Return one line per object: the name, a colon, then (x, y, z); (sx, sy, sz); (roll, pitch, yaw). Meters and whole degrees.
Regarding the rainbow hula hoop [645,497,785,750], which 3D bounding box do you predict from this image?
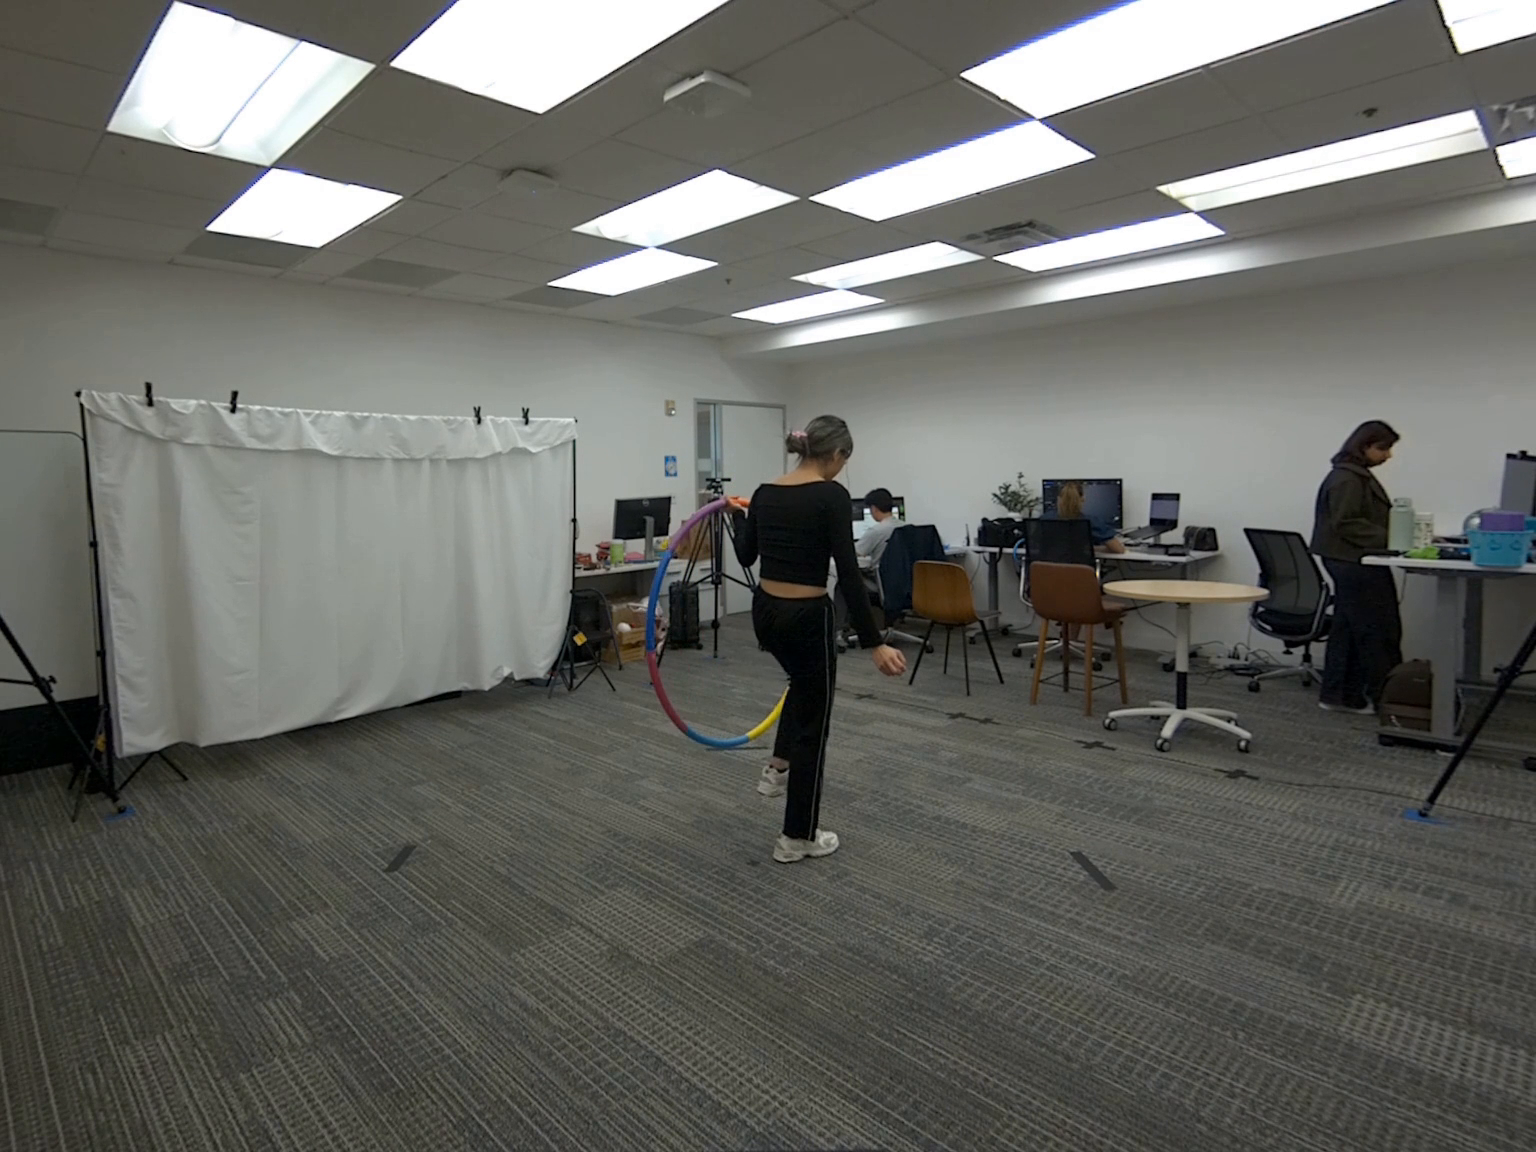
rainbow hula hoop: (-0.130, 0.181, 3.440); (0.036, 0.977, 0.953); (-2, 3, 41)
